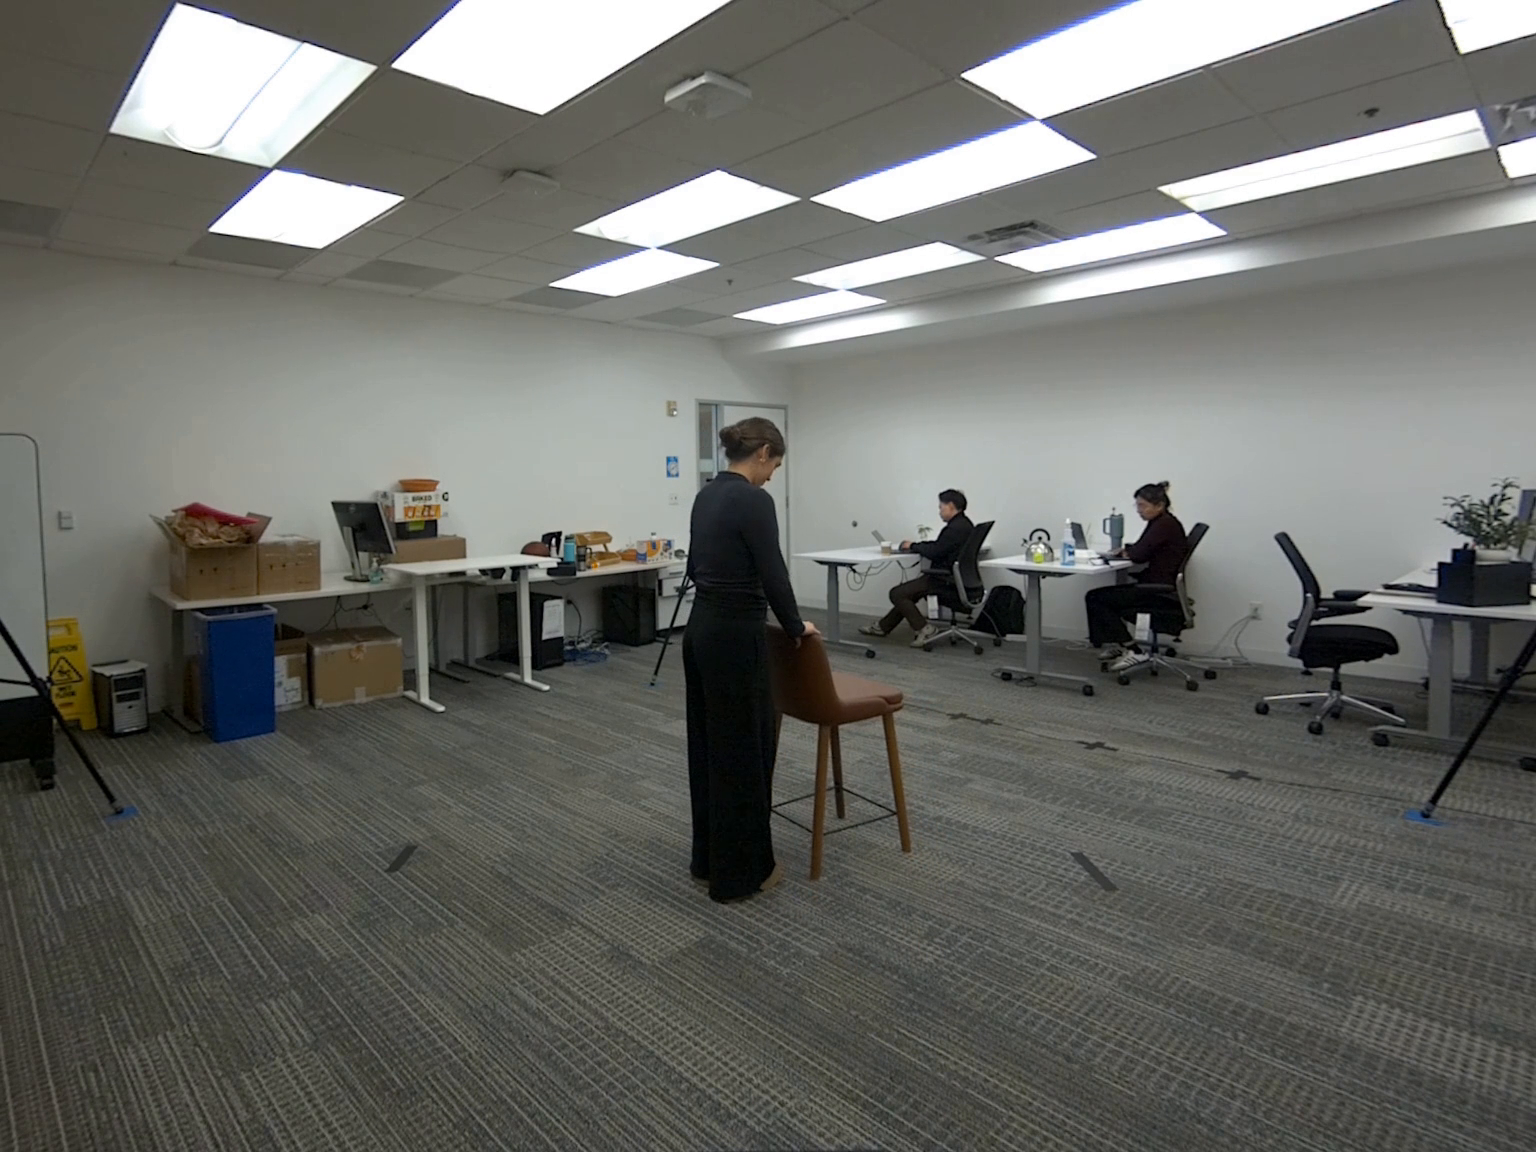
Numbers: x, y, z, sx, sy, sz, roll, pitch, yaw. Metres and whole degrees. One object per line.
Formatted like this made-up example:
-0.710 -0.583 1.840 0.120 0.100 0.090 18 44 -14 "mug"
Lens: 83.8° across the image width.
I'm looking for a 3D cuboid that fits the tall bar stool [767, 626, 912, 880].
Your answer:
0.220 0.589 3.209 0.456 0.886 0.469 -6 6 -33 "tall bar stool"
